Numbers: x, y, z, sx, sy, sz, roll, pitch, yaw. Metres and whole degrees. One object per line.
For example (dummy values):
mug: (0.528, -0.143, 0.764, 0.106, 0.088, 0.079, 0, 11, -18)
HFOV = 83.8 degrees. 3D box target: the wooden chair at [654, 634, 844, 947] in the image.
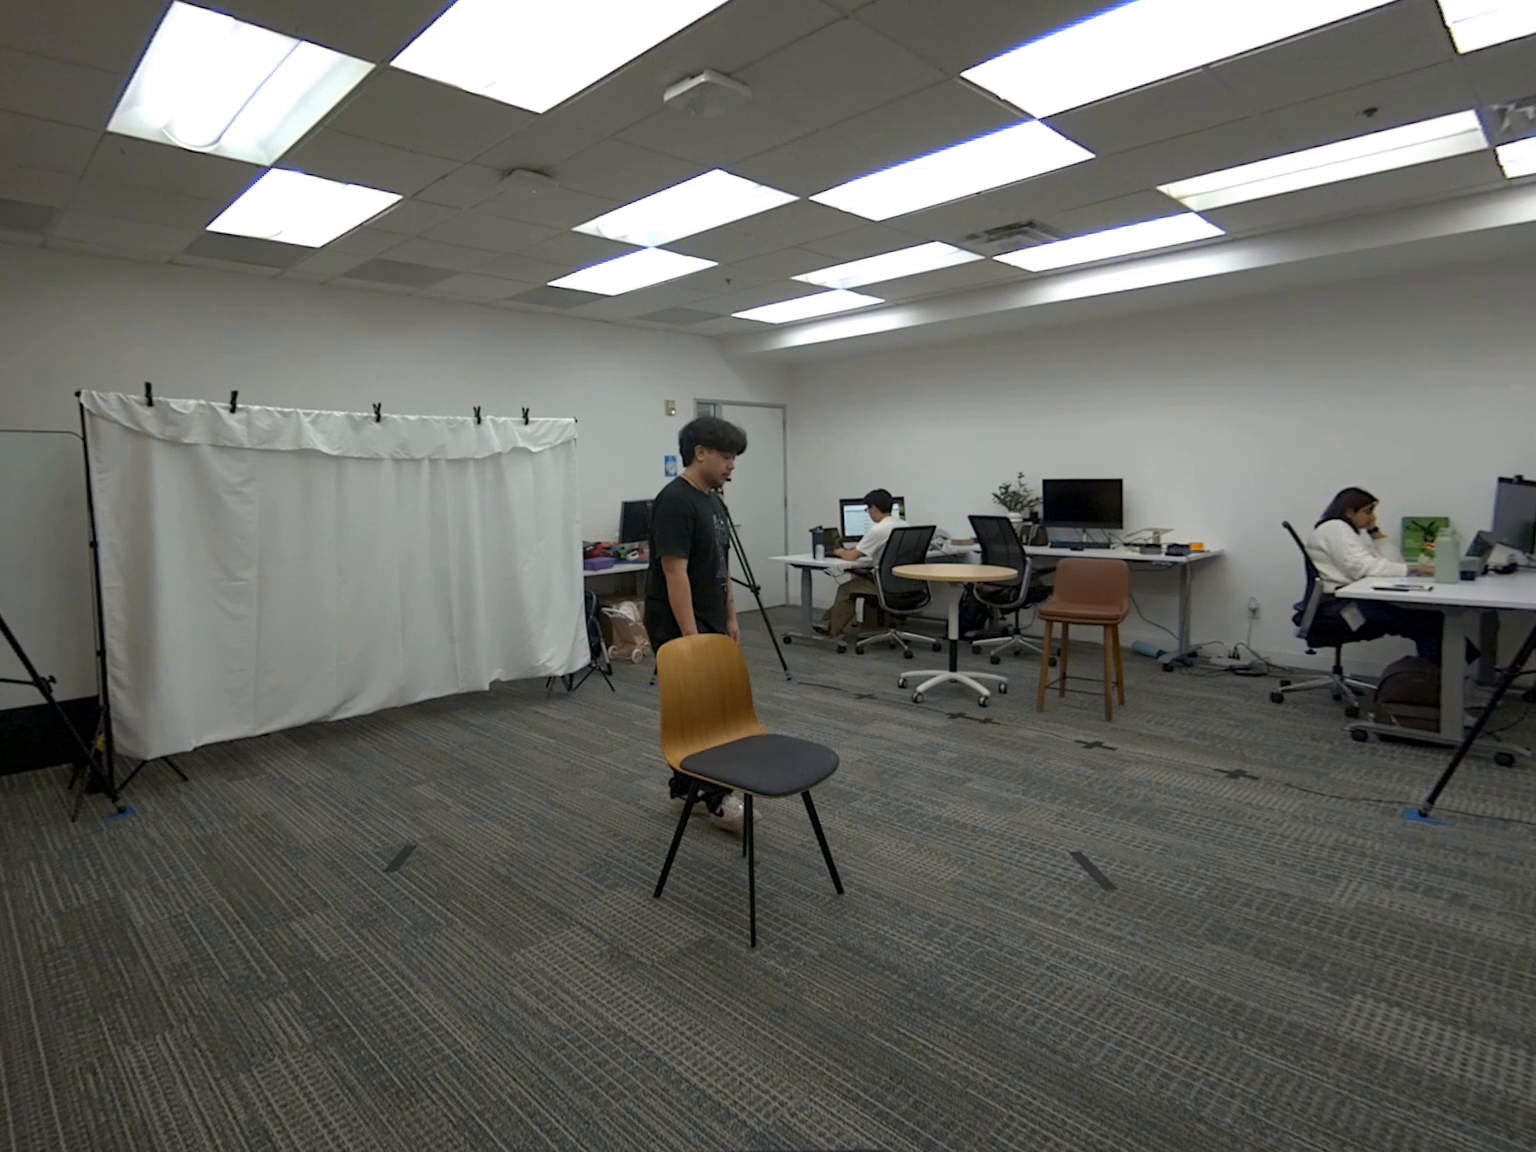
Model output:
wooden chair: (-0.063, 0.650, 2.819, 0.537, 0.876, 0.465, -3, 2, 43)
